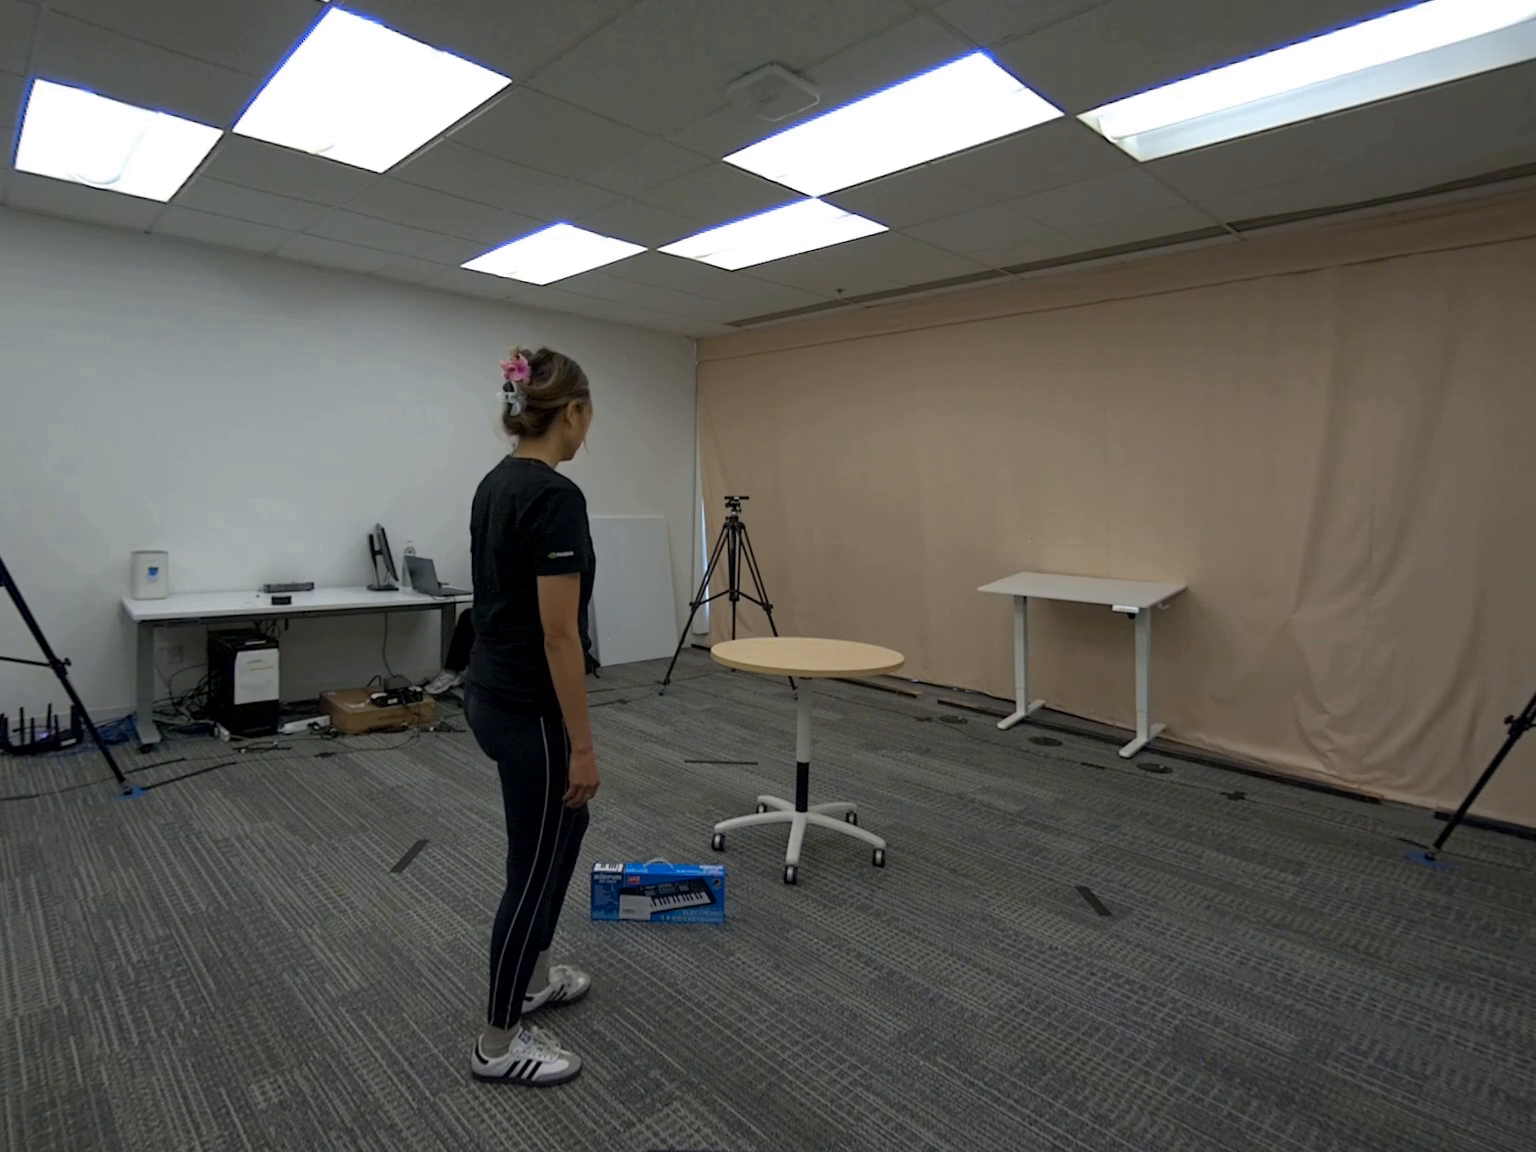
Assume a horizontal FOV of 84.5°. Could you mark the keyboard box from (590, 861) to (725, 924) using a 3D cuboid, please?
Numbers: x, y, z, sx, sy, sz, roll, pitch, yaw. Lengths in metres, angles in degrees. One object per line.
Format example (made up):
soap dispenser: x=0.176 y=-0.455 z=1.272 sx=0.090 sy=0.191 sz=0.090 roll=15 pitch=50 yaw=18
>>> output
keyboard box: x=-0.368 y=1.042 z=2.763 sx=0.437 sy=0.175 sz=0.059 roll=2 pitch=9 yaw=0
